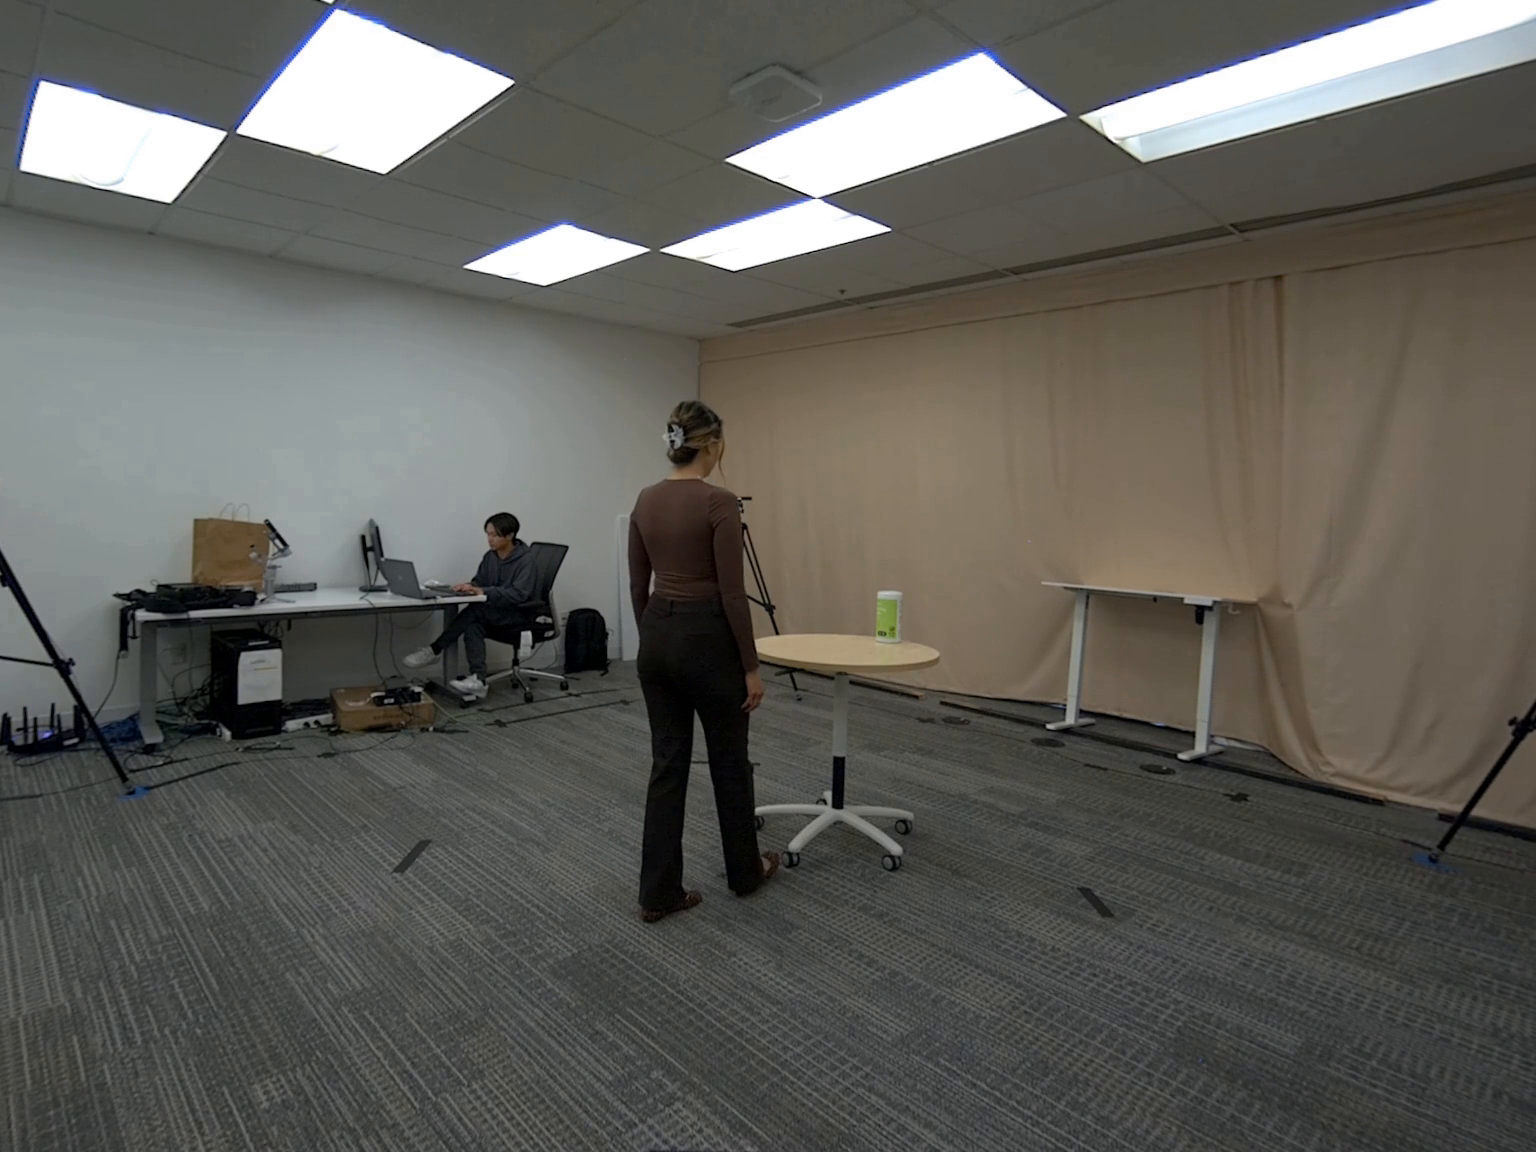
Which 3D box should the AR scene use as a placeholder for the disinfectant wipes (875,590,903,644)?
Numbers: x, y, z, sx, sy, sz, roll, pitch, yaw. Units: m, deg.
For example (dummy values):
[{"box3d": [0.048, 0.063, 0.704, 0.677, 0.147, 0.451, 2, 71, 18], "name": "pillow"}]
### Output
[{"box3d": [0.518, 0.178, 3.629, 0.118, 0.217, 0.118, 2, 2, -1], "name": "disinfectant wipes"}]
